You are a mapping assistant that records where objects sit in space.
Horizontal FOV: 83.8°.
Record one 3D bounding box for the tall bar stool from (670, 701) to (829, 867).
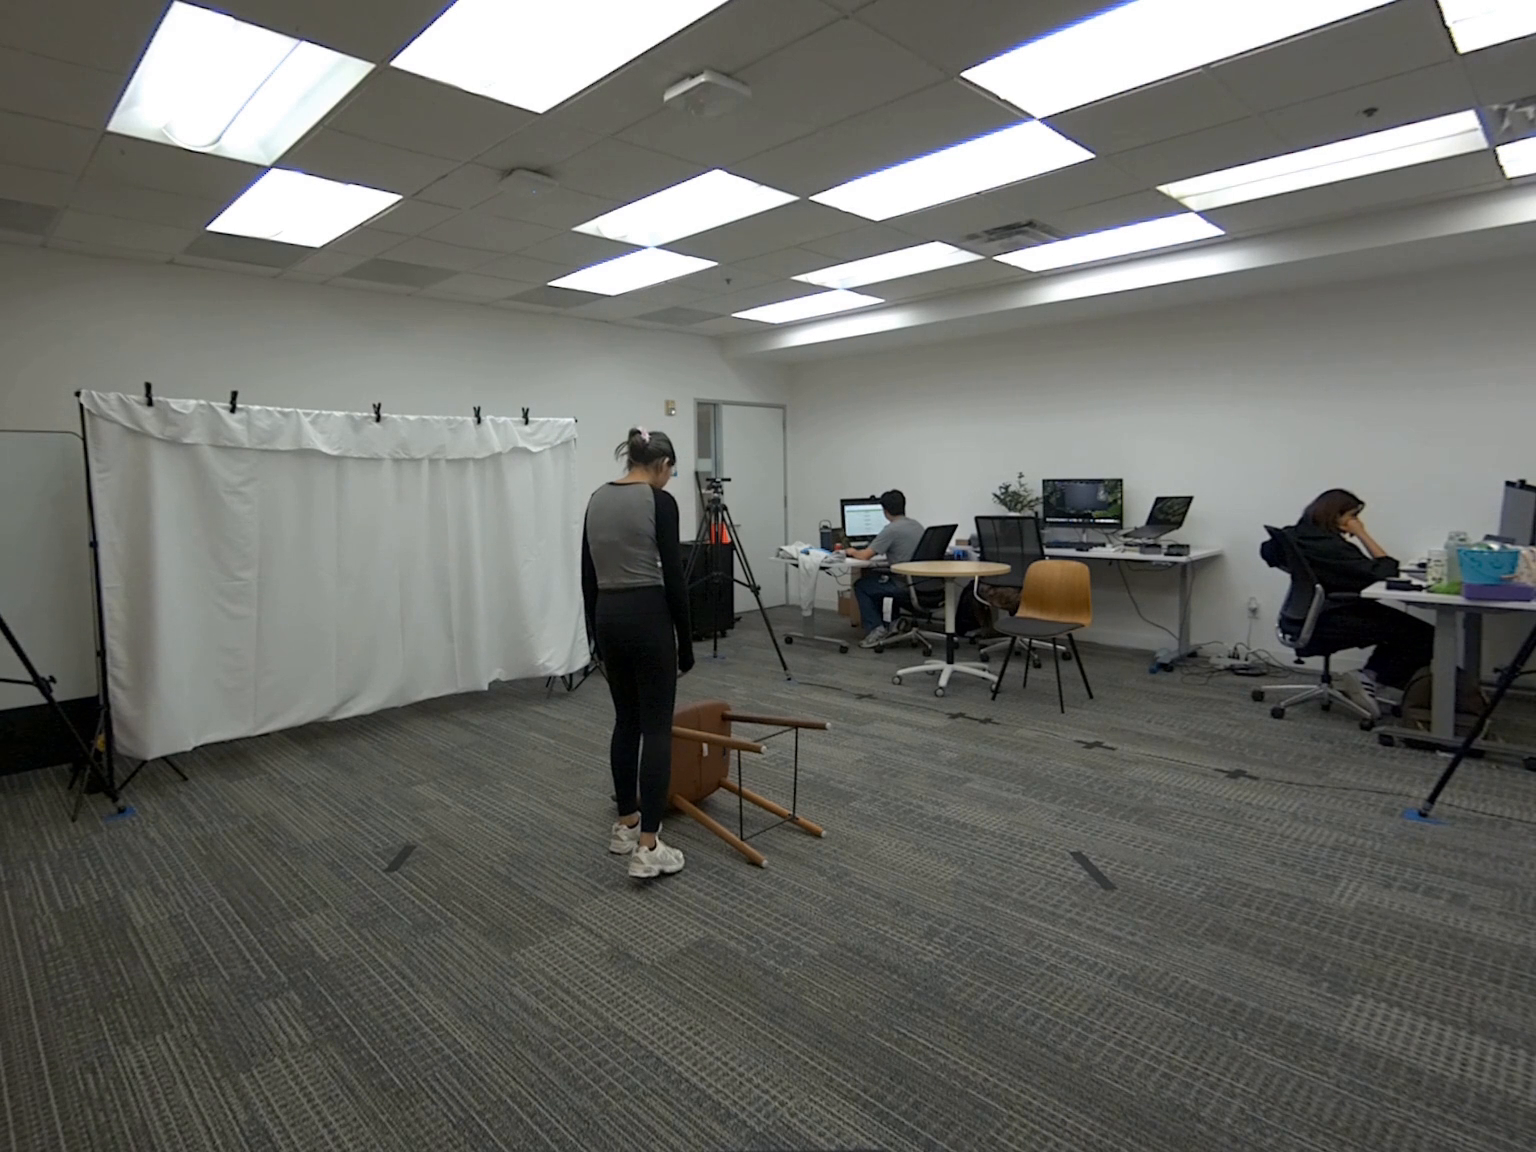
[{"bbox_3d":[-0.218,0.775,3.474,0.917,0.466,0.445,4,7,43],"label":"tall bar stool"}]
